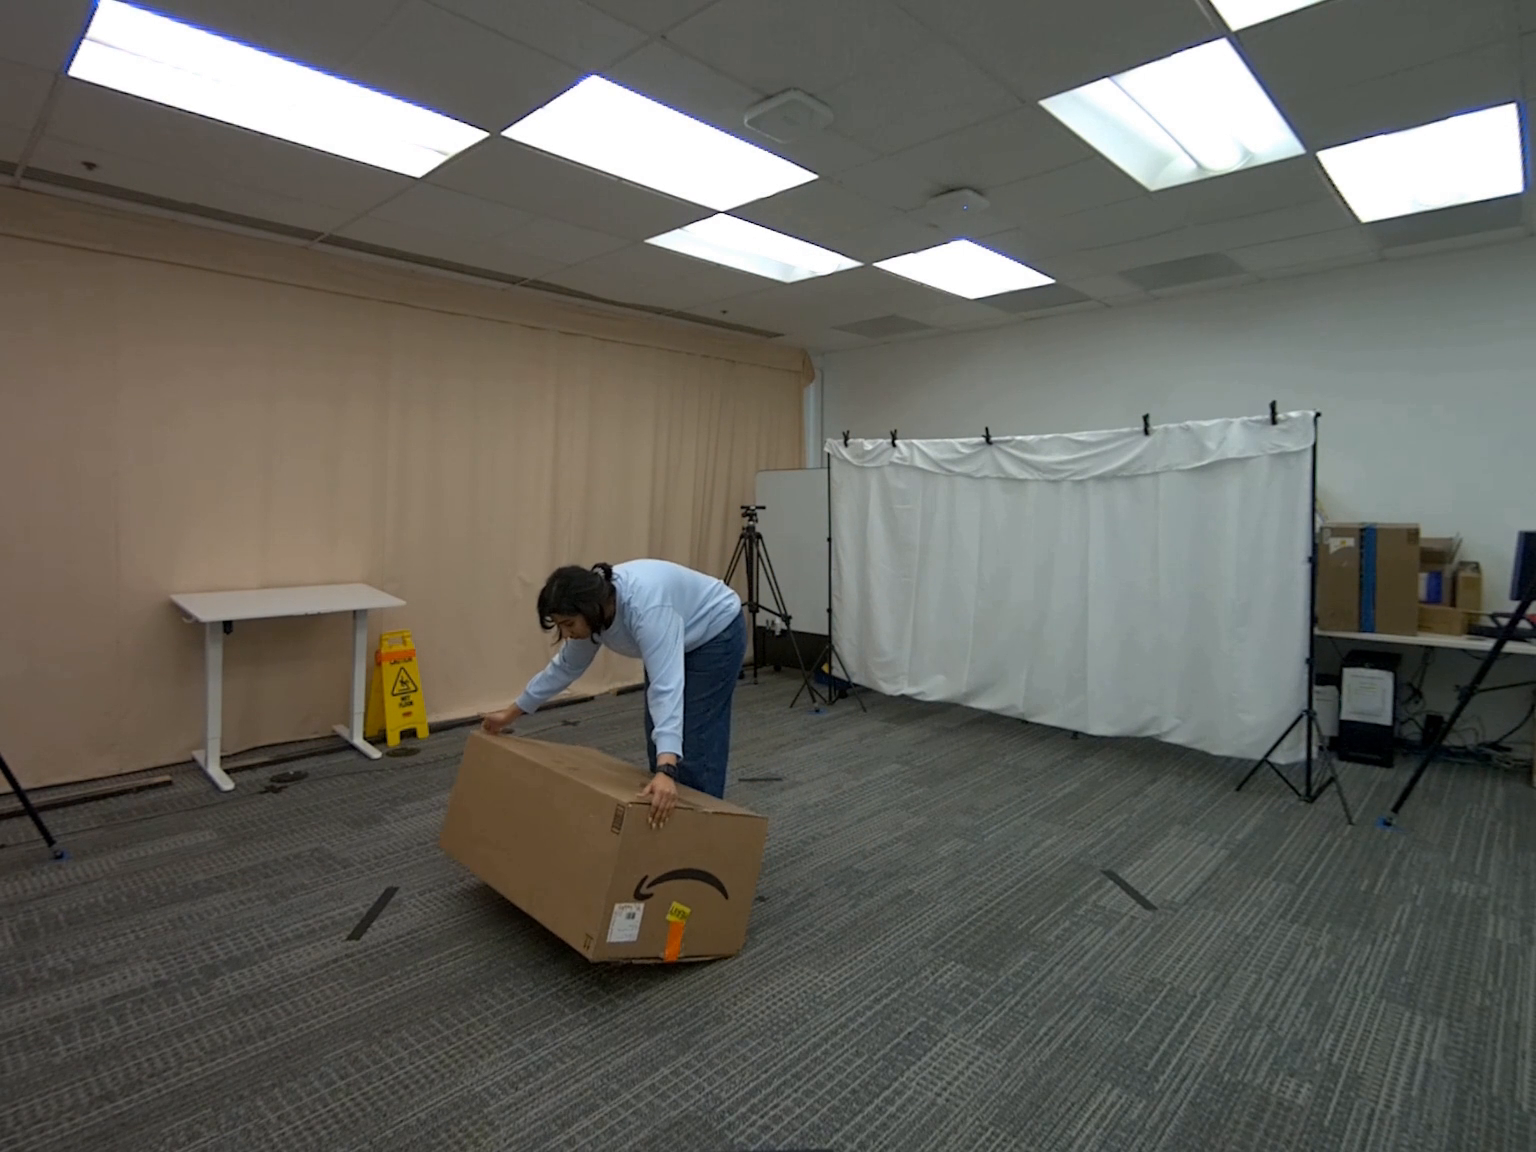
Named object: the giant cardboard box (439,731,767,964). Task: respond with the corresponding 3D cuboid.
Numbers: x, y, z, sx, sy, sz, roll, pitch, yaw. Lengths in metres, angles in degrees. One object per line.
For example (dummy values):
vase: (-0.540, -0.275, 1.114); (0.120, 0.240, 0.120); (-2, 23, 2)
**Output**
giant cardboard box: (-0.591, 0.875, 2.848); (0.557, 0.427, 1.060); (20, -11, -42)
